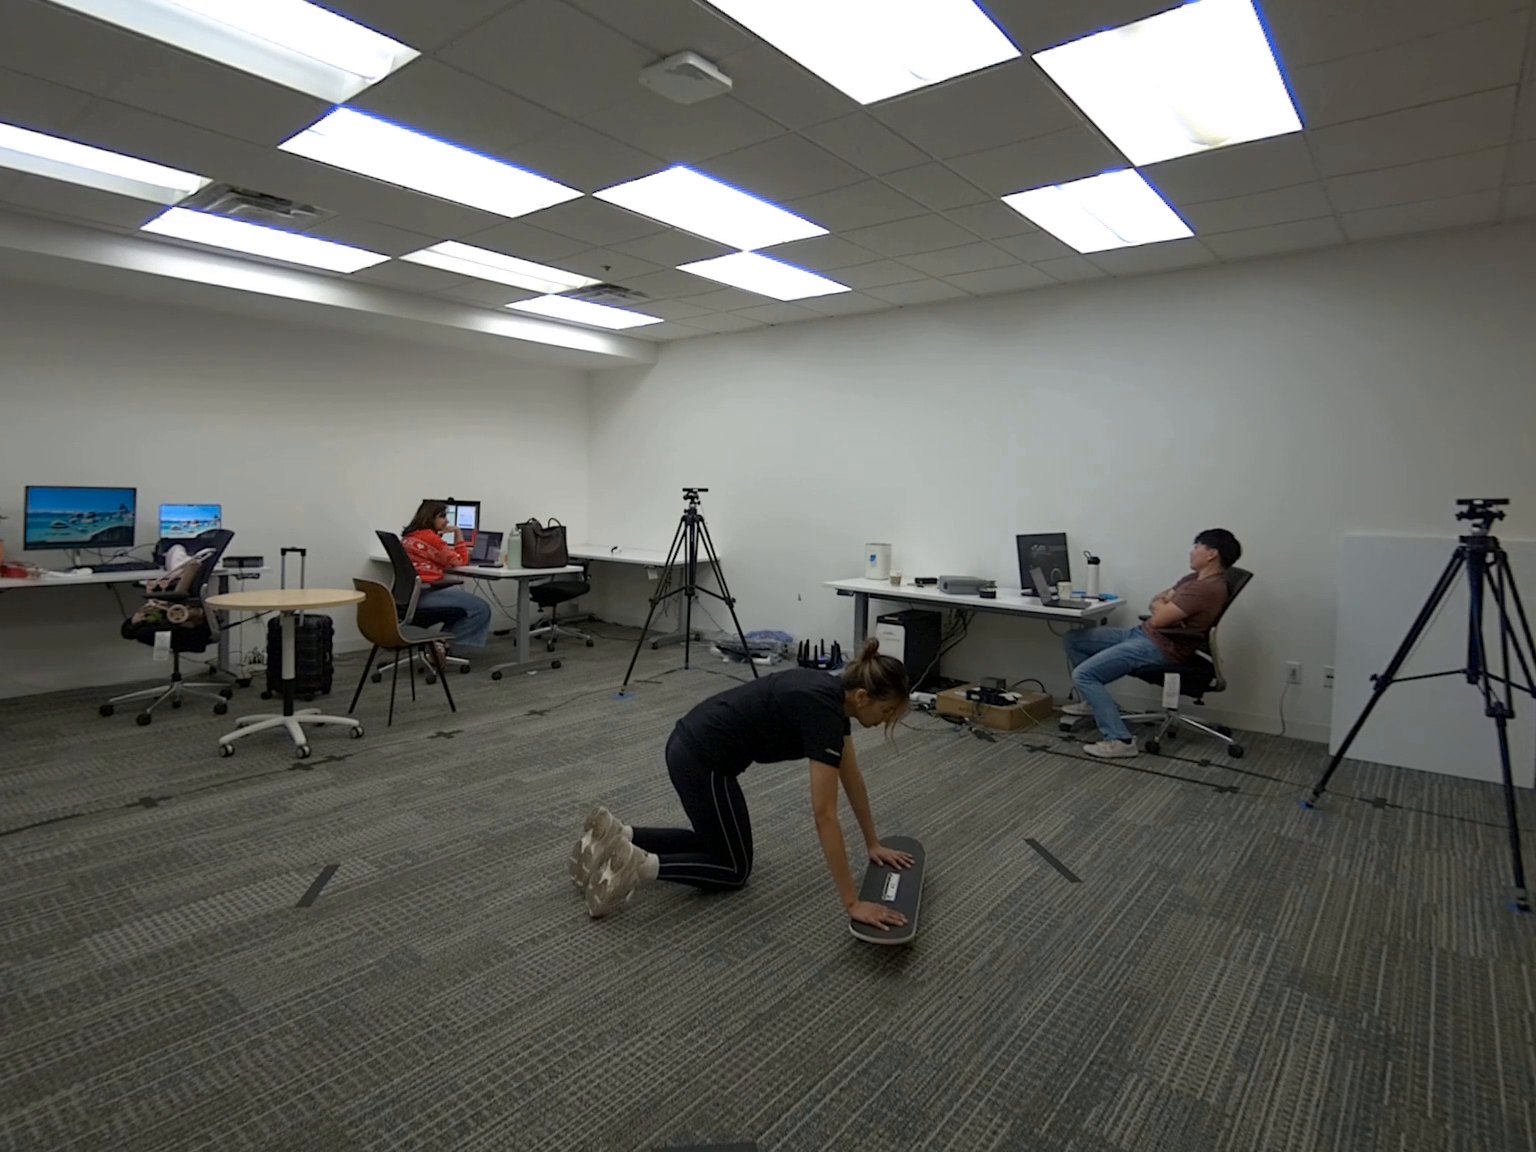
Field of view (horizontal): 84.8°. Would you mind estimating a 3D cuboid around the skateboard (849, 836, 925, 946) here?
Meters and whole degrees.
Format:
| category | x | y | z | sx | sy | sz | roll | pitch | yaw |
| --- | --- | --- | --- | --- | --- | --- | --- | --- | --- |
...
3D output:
| category | x | y | z | sx | sy | sz | roll | pitch | yaw |
| --- | --- | --- | --- | --- | --- | --- | --- | --- | --- |
| skateboard | 0.398 | 1.054 | 2.820 | 0.197 | 0.110 | 0.775 | 2 | 6 | 14 |
